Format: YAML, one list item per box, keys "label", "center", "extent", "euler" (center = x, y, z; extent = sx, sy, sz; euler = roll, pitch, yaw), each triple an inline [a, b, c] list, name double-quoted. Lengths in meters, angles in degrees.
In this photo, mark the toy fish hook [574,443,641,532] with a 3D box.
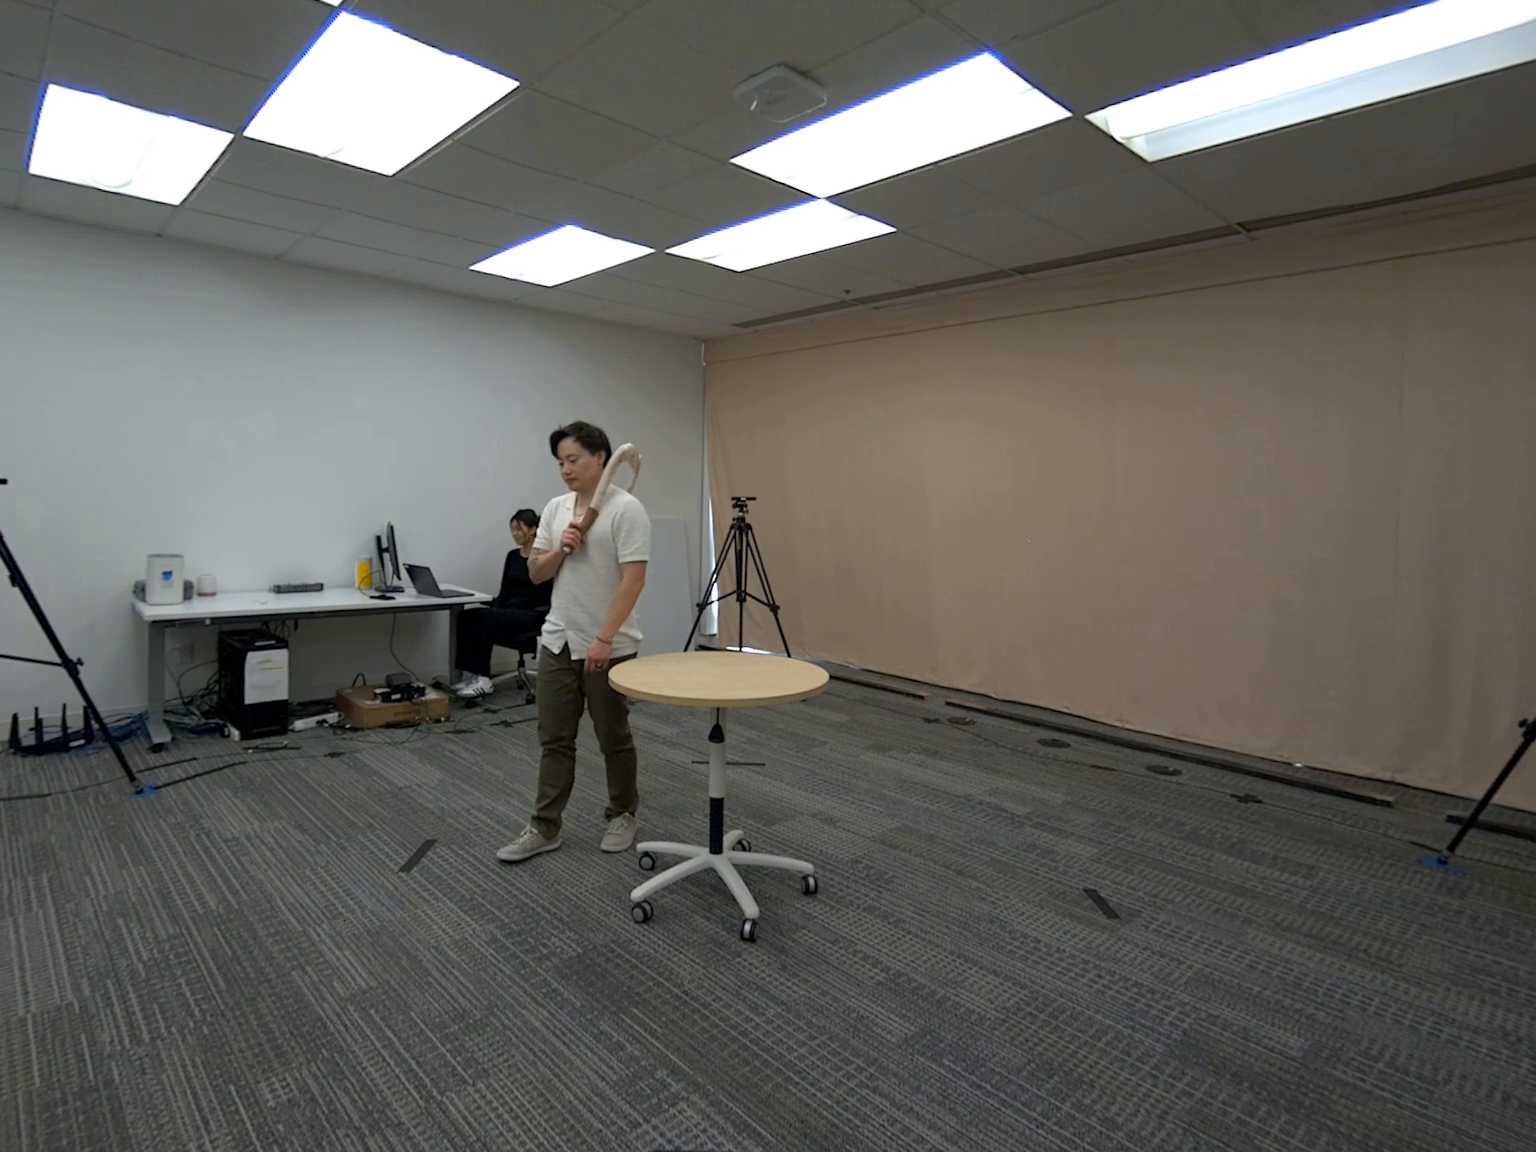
- label: "toy fish hook"
  center: [-0.634, -0.278, 3.230]
  extent: [0.049, 0.509, 0.218]
  euler: [17, -20, 27]
